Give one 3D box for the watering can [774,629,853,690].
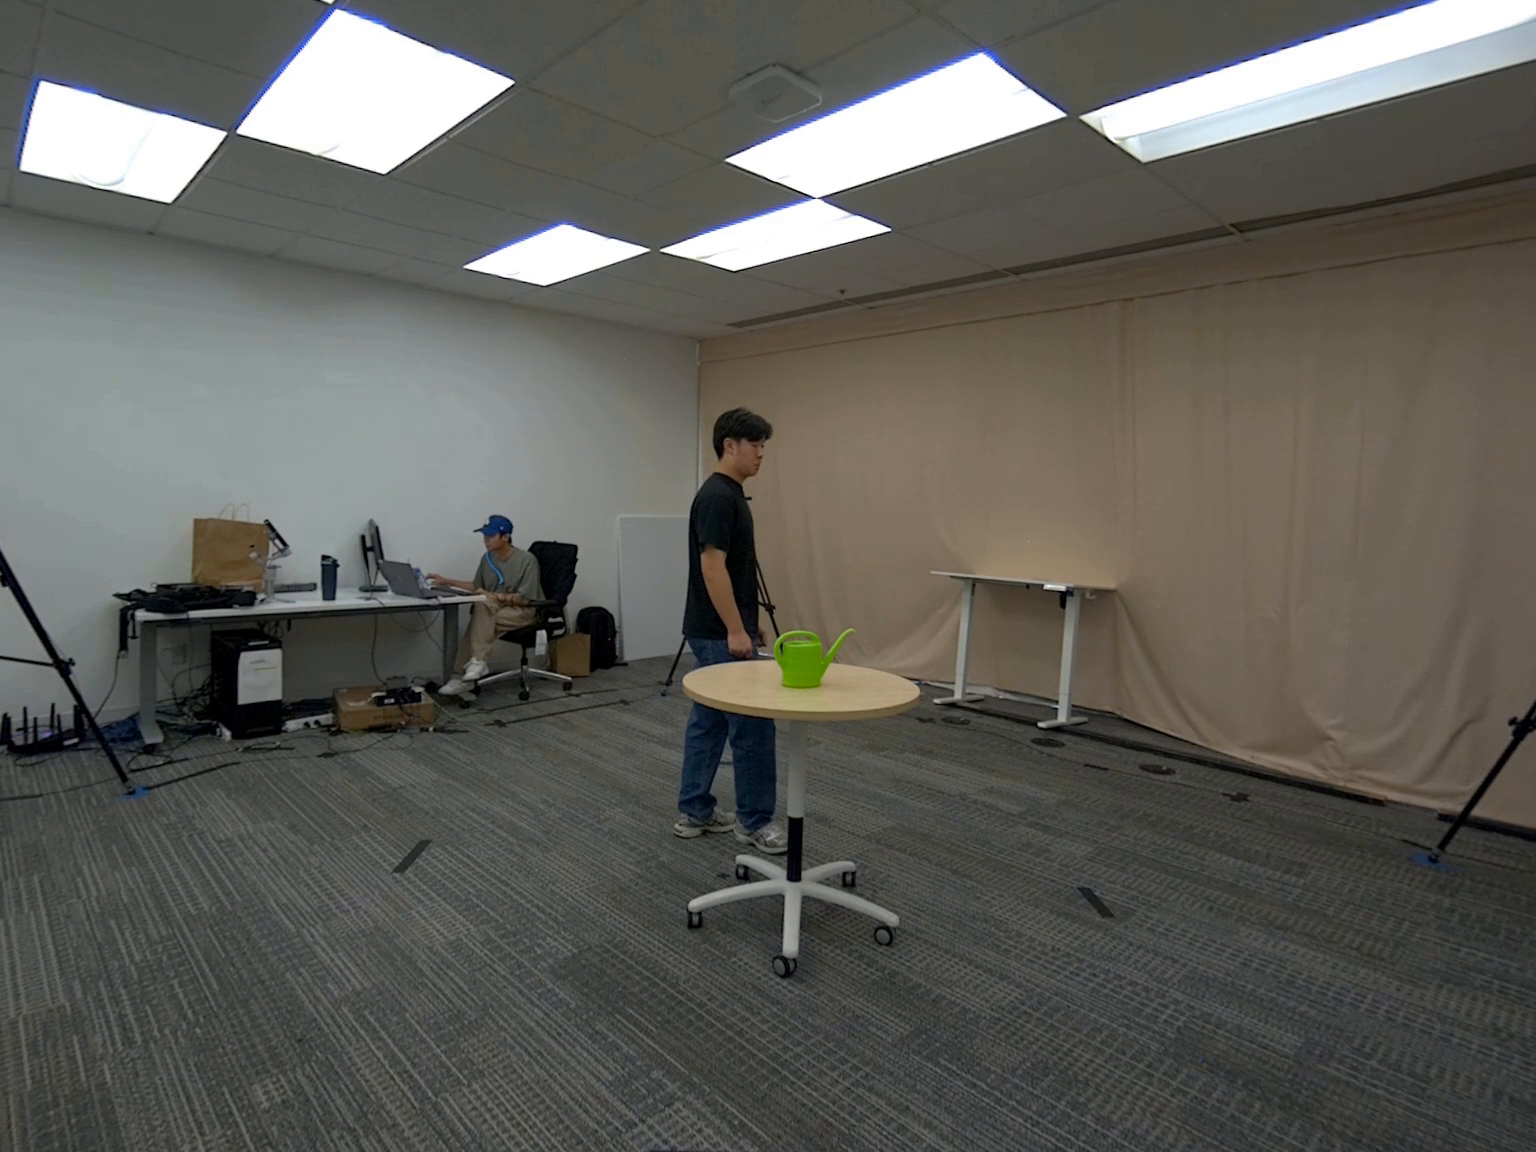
[{"bbox_3d":[0.150,0.268,2.698,0.277,0.176,0.098,1,4,-3],"label":"watering can"}]
